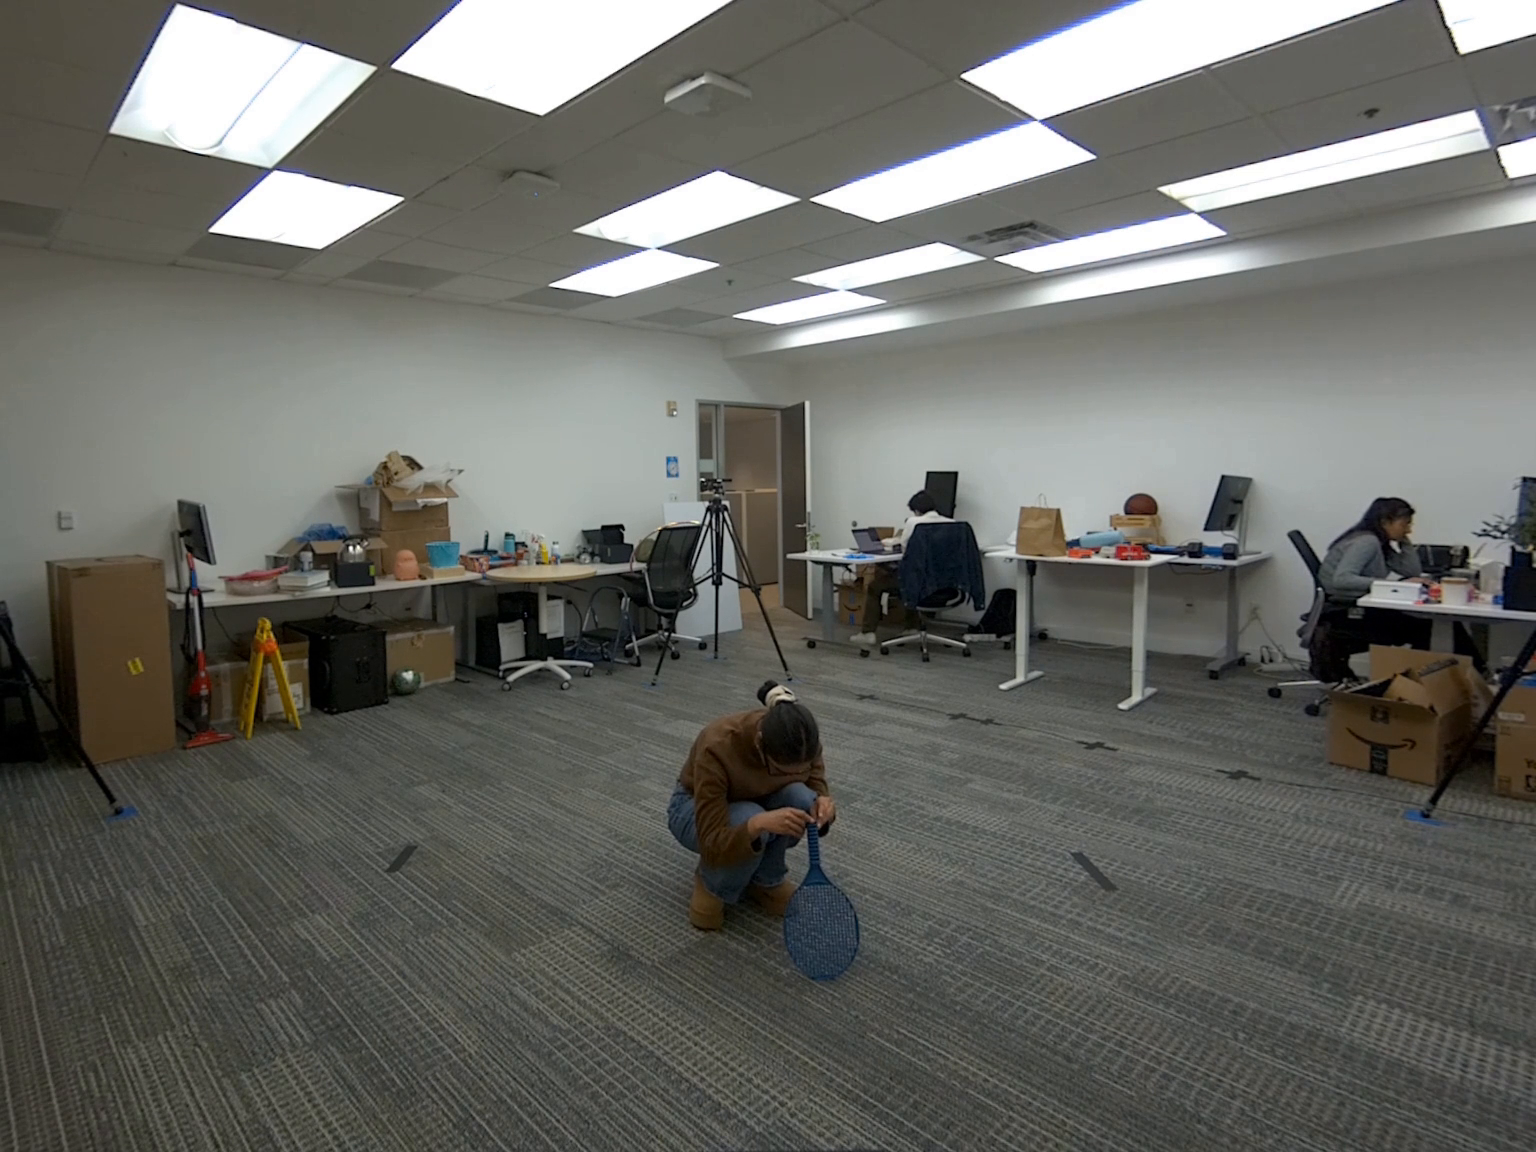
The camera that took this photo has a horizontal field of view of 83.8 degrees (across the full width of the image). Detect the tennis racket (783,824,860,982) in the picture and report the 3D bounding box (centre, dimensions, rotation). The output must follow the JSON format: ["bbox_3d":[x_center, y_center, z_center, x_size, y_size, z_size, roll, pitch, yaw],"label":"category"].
[{"bbox_3d":[0.132,0.909,2.403,0.214,0.435,0.031,-9,-5,4],"label":"tennis racket"}]
